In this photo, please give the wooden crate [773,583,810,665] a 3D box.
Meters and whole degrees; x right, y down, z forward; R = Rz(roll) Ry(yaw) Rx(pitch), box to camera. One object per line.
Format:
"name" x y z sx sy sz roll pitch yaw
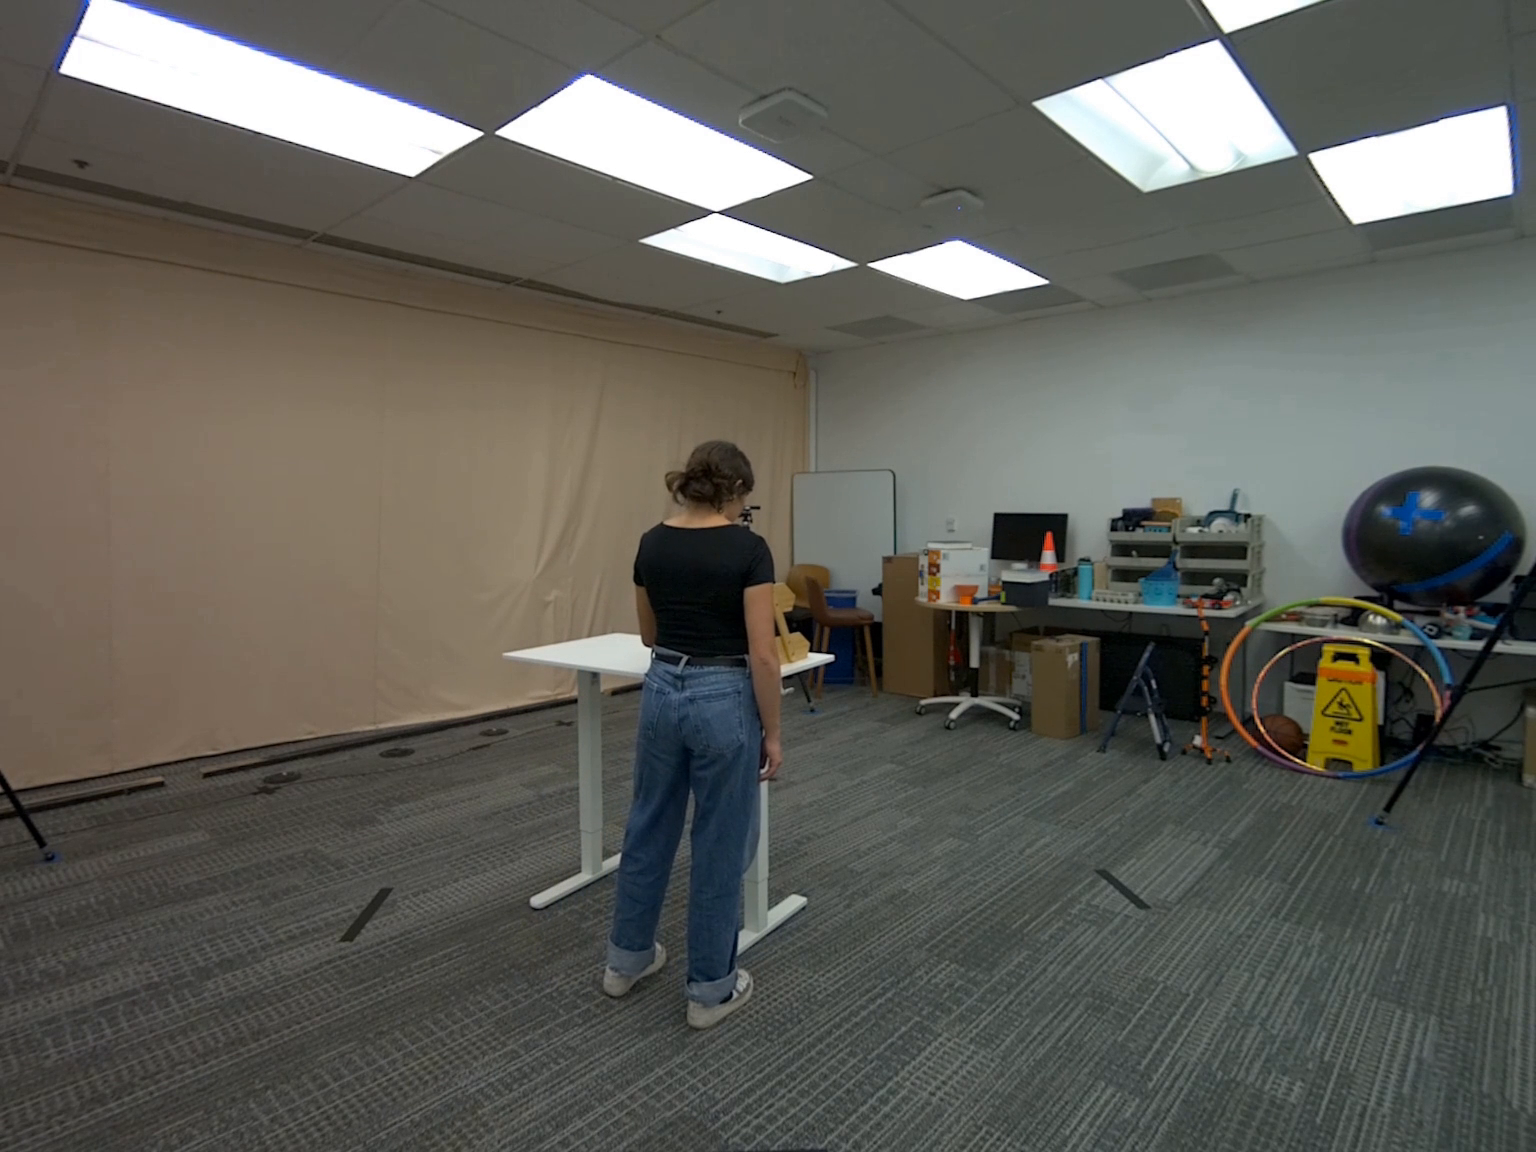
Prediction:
"wooden crate" -0.068 0.142 2.782 0.335 0.272 0.293 2 5 35
